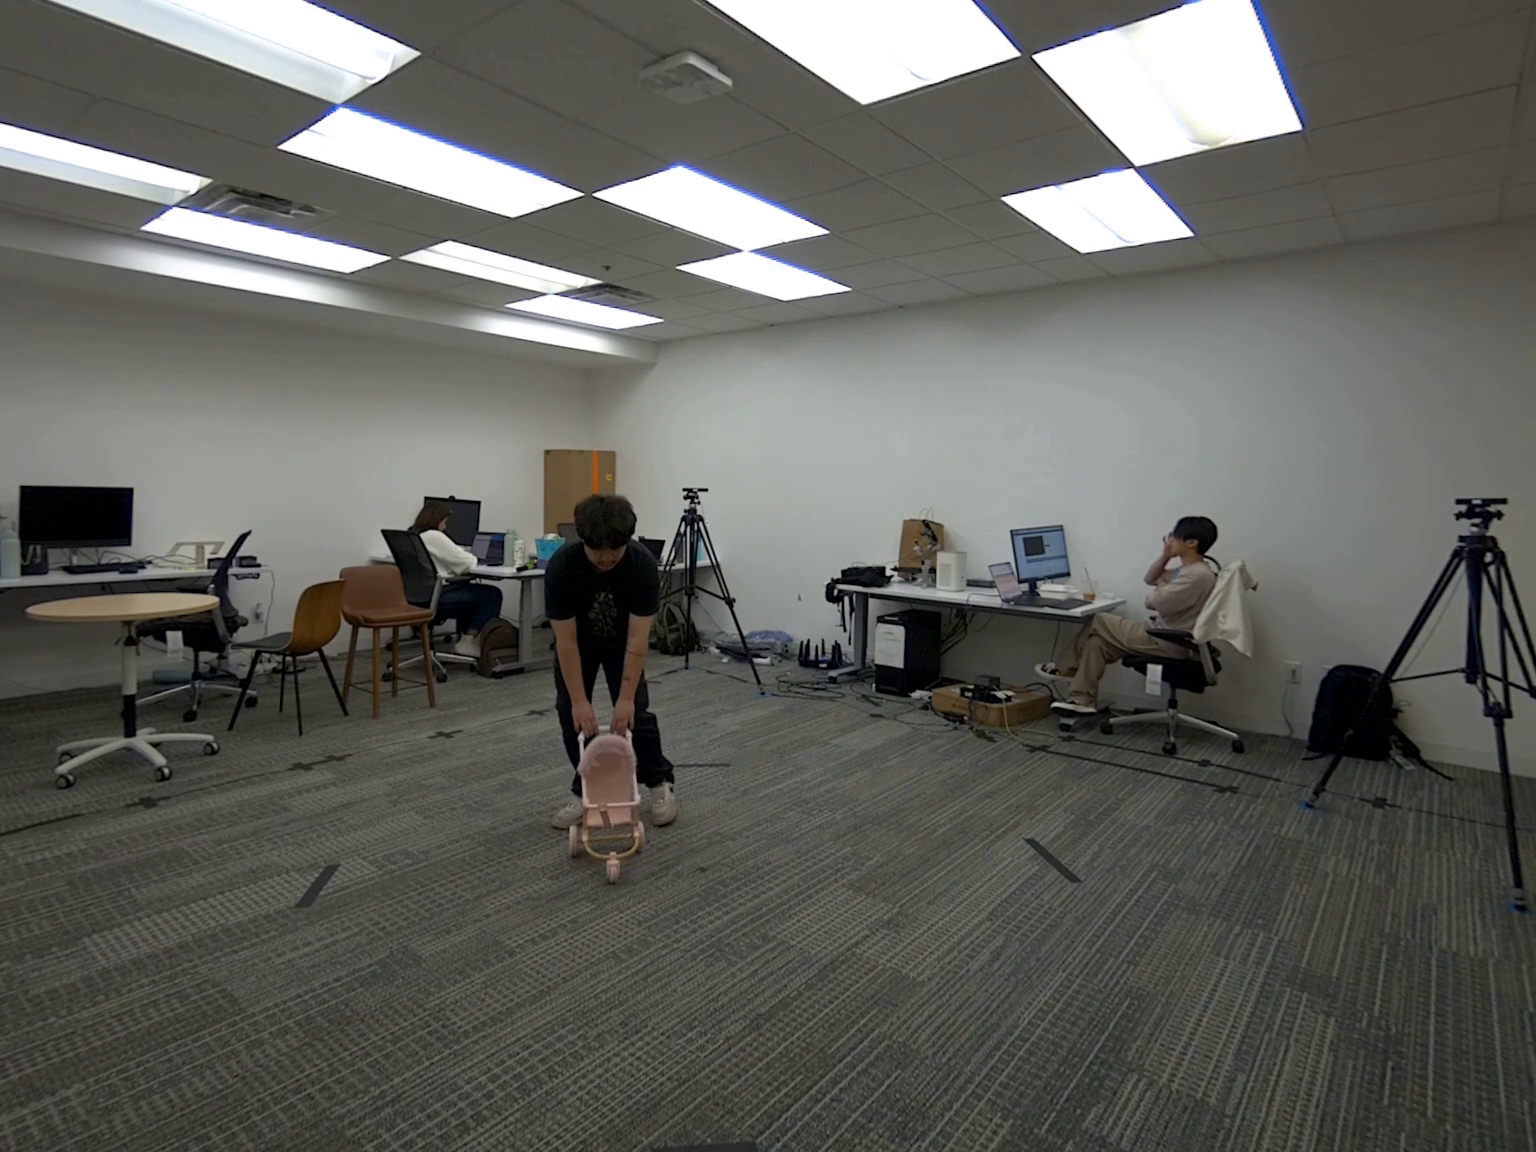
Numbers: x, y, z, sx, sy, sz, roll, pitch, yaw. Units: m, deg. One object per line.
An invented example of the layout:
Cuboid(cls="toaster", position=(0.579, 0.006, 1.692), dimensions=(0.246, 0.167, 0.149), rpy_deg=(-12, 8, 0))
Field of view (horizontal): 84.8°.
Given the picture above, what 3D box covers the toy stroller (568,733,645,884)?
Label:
Cuboid(cls="toy stroller", position=(-0.607, 0.831, 3.155), dimensions=(0.278, 0.541, 0.342), rpy_deg=(0, -11, -12))
